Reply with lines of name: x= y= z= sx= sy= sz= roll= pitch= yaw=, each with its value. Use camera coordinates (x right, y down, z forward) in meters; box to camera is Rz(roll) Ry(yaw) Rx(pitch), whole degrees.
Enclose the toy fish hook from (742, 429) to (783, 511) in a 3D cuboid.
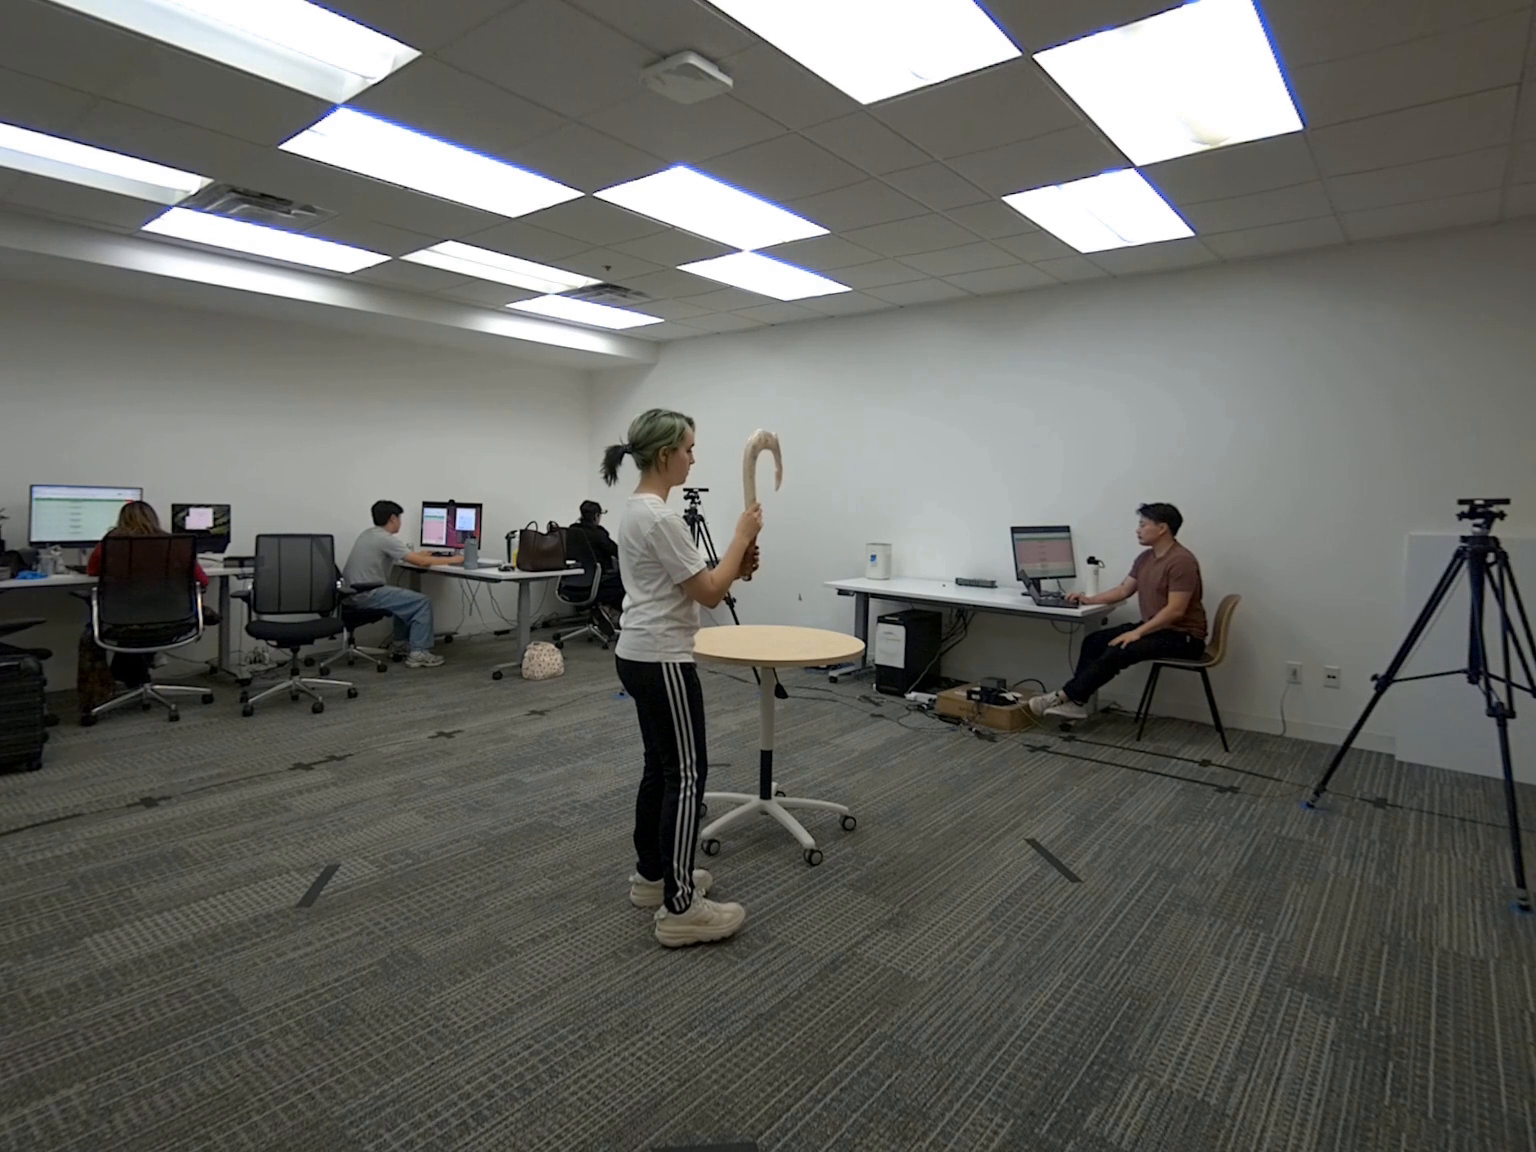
toy fish hook: x=-0.036 y=-0.238 z=2.839 sx=0.050 sy=0.507 sz=0.217 roll=6 pitch=-2 yaw=39
